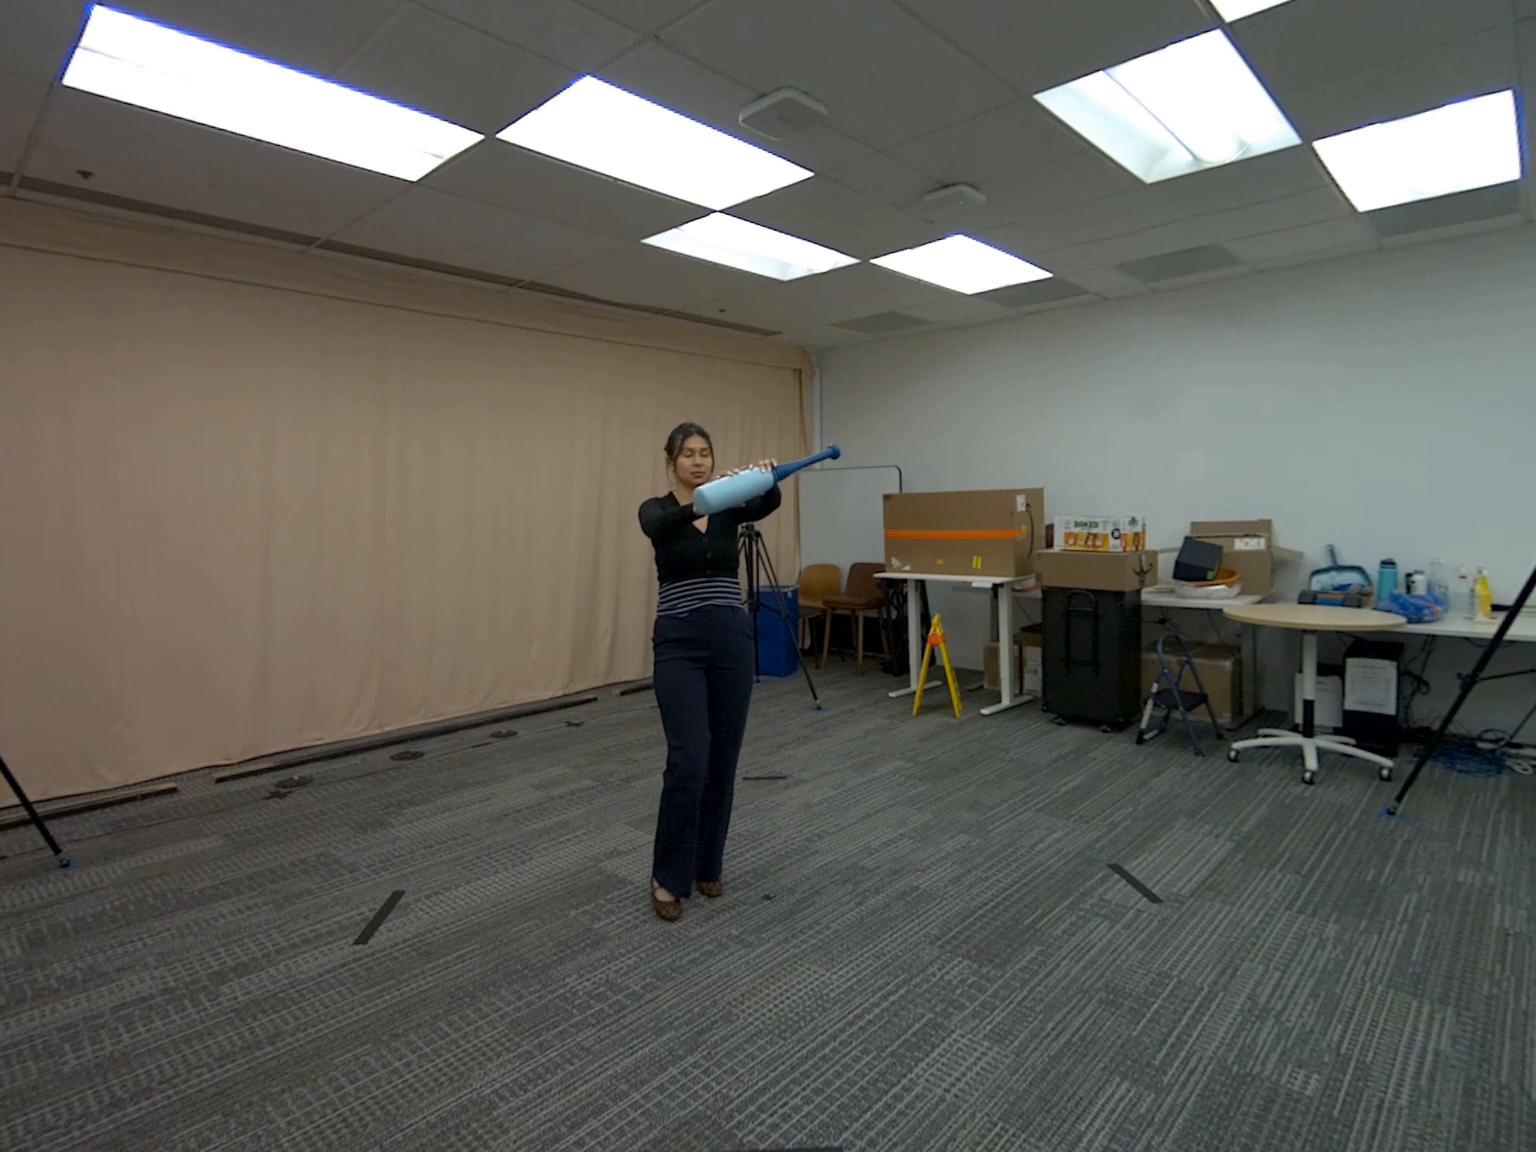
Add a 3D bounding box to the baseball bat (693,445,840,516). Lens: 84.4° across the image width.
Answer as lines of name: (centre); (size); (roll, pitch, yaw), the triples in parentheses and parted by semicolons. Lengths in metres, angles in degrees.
baseball bat: (0.018, -0.299, 2.532); (0.533, 0.088, 0.092); (-25, 16, -29)
